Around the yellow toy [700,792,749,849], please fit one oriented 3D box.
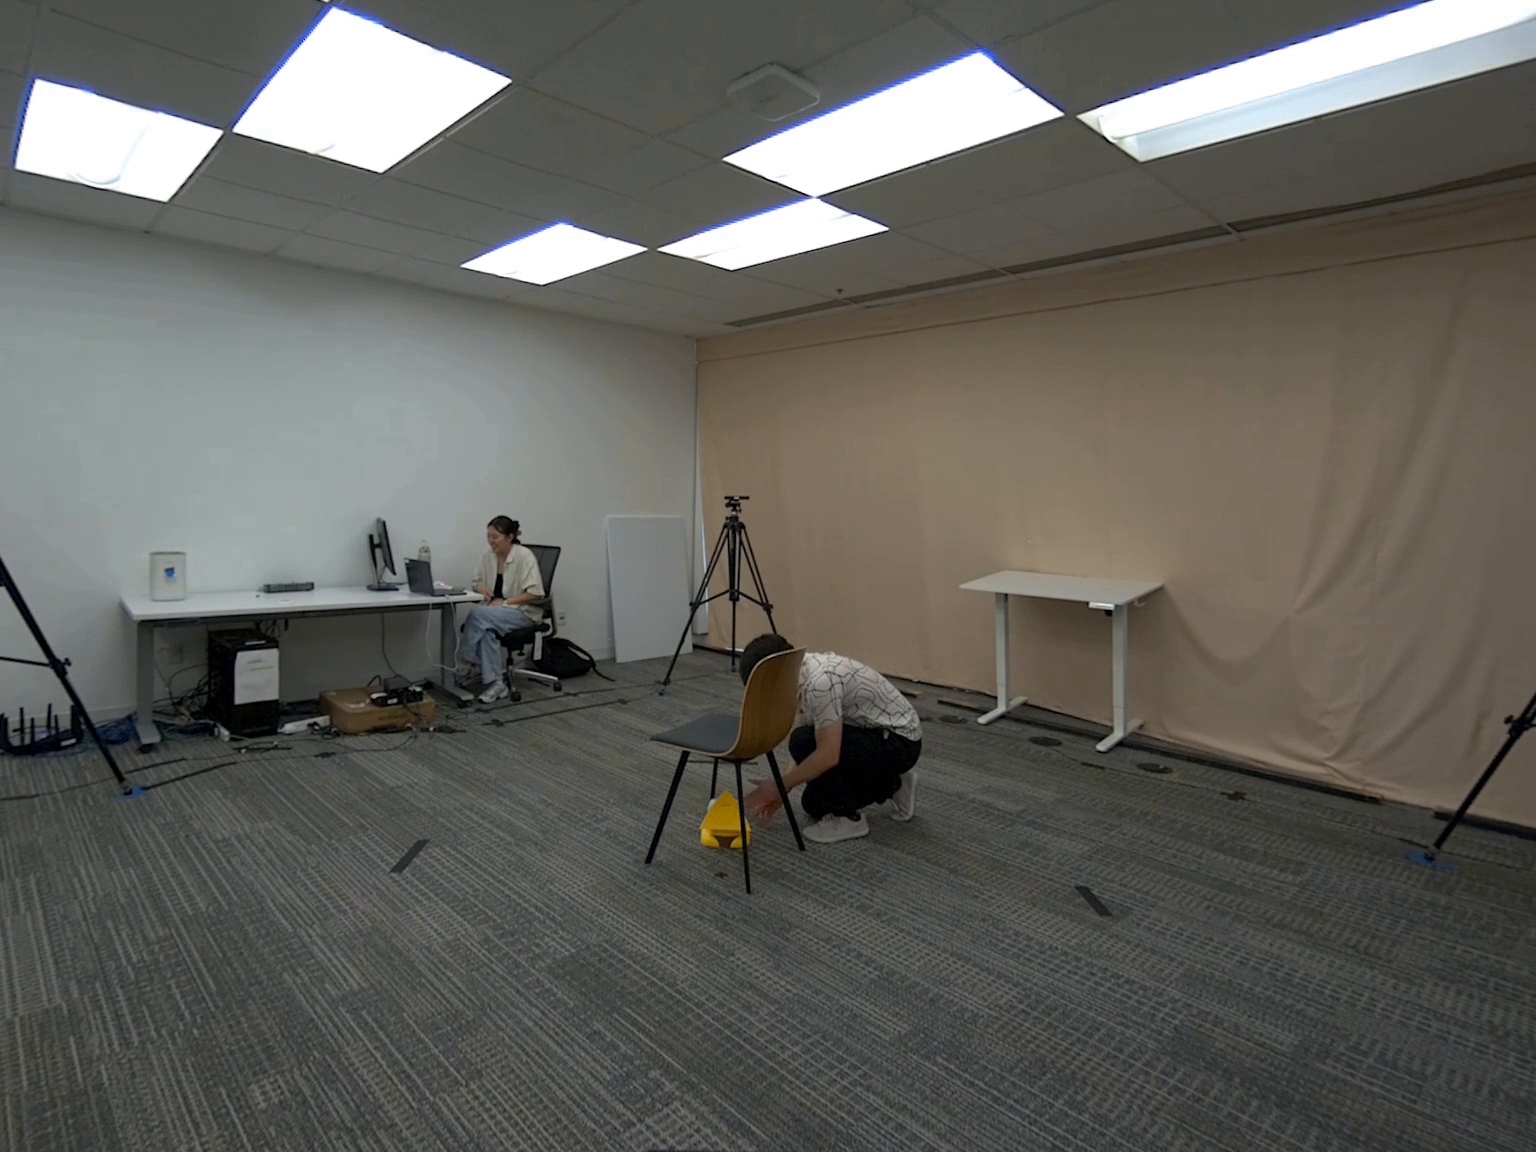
[{"bbox_3d":[-0.179,0.962,3.424,0.205,0.230,0.193,2,4,2],"label":"yellow toy"}]
